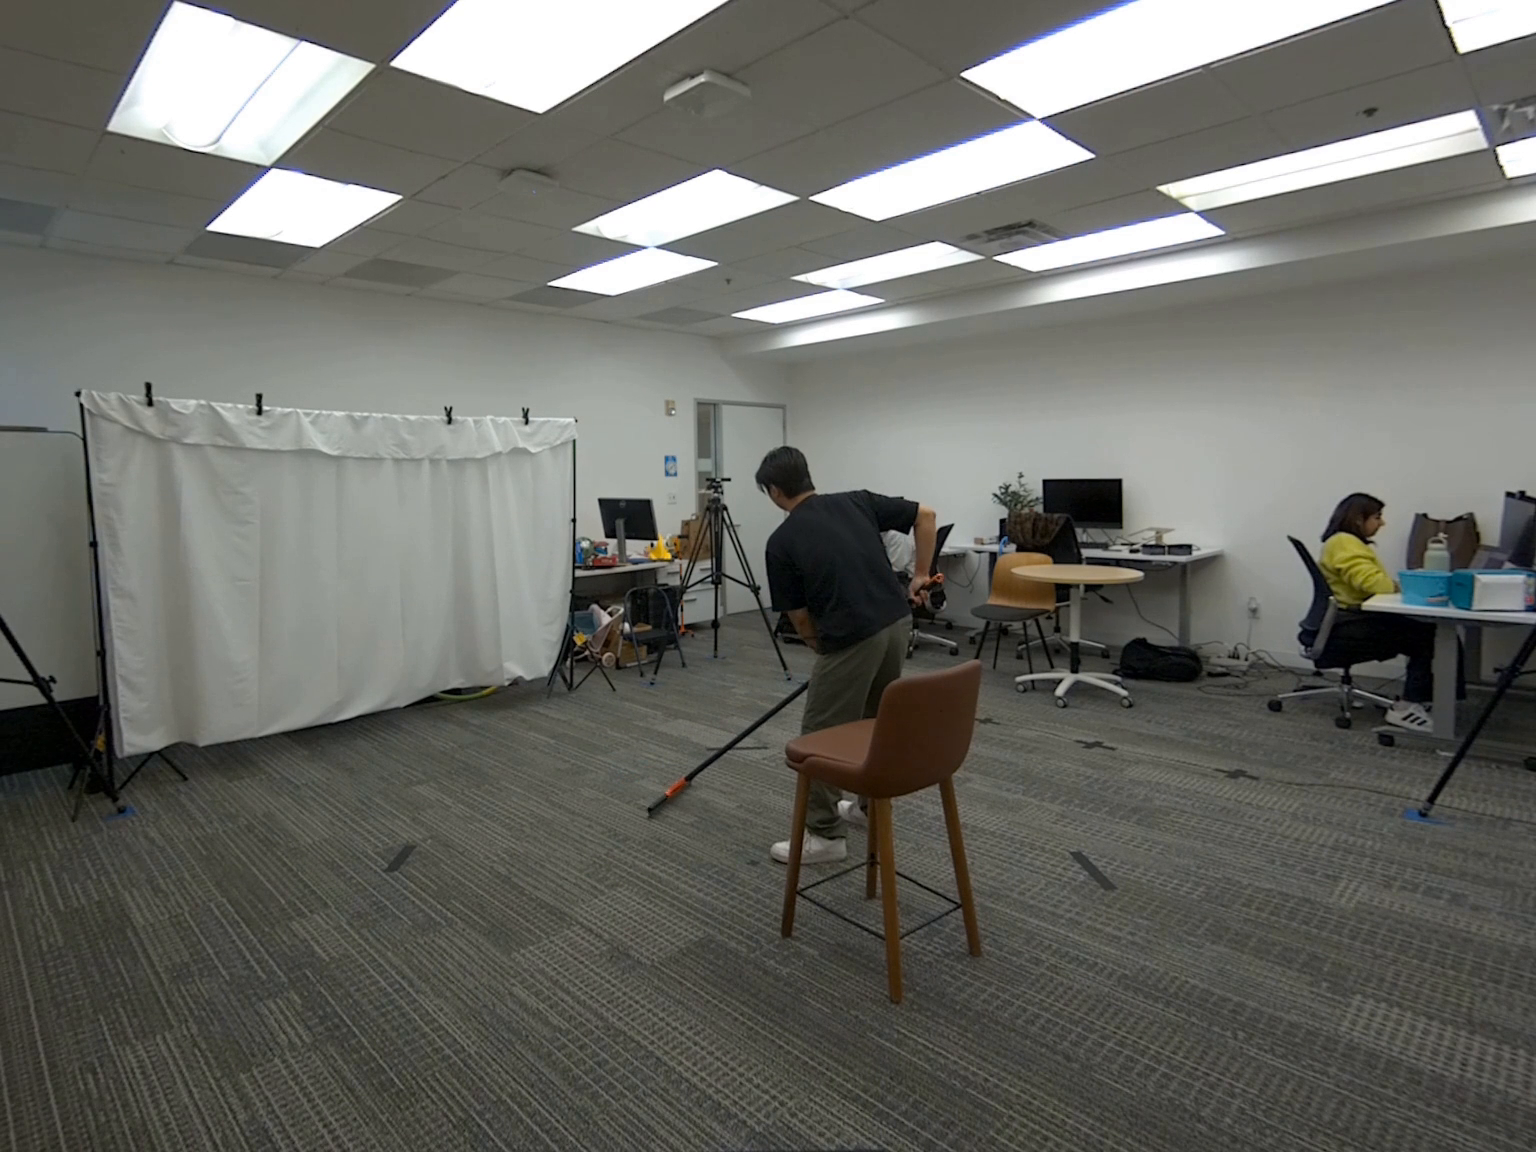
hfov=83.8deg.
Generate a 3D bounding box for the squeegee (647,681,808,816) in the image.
[{"bbox_3d":[0.108,0.478,3.478,1.541,0.053,0.432,-40,-6,18],"label":"squeegee"}]
